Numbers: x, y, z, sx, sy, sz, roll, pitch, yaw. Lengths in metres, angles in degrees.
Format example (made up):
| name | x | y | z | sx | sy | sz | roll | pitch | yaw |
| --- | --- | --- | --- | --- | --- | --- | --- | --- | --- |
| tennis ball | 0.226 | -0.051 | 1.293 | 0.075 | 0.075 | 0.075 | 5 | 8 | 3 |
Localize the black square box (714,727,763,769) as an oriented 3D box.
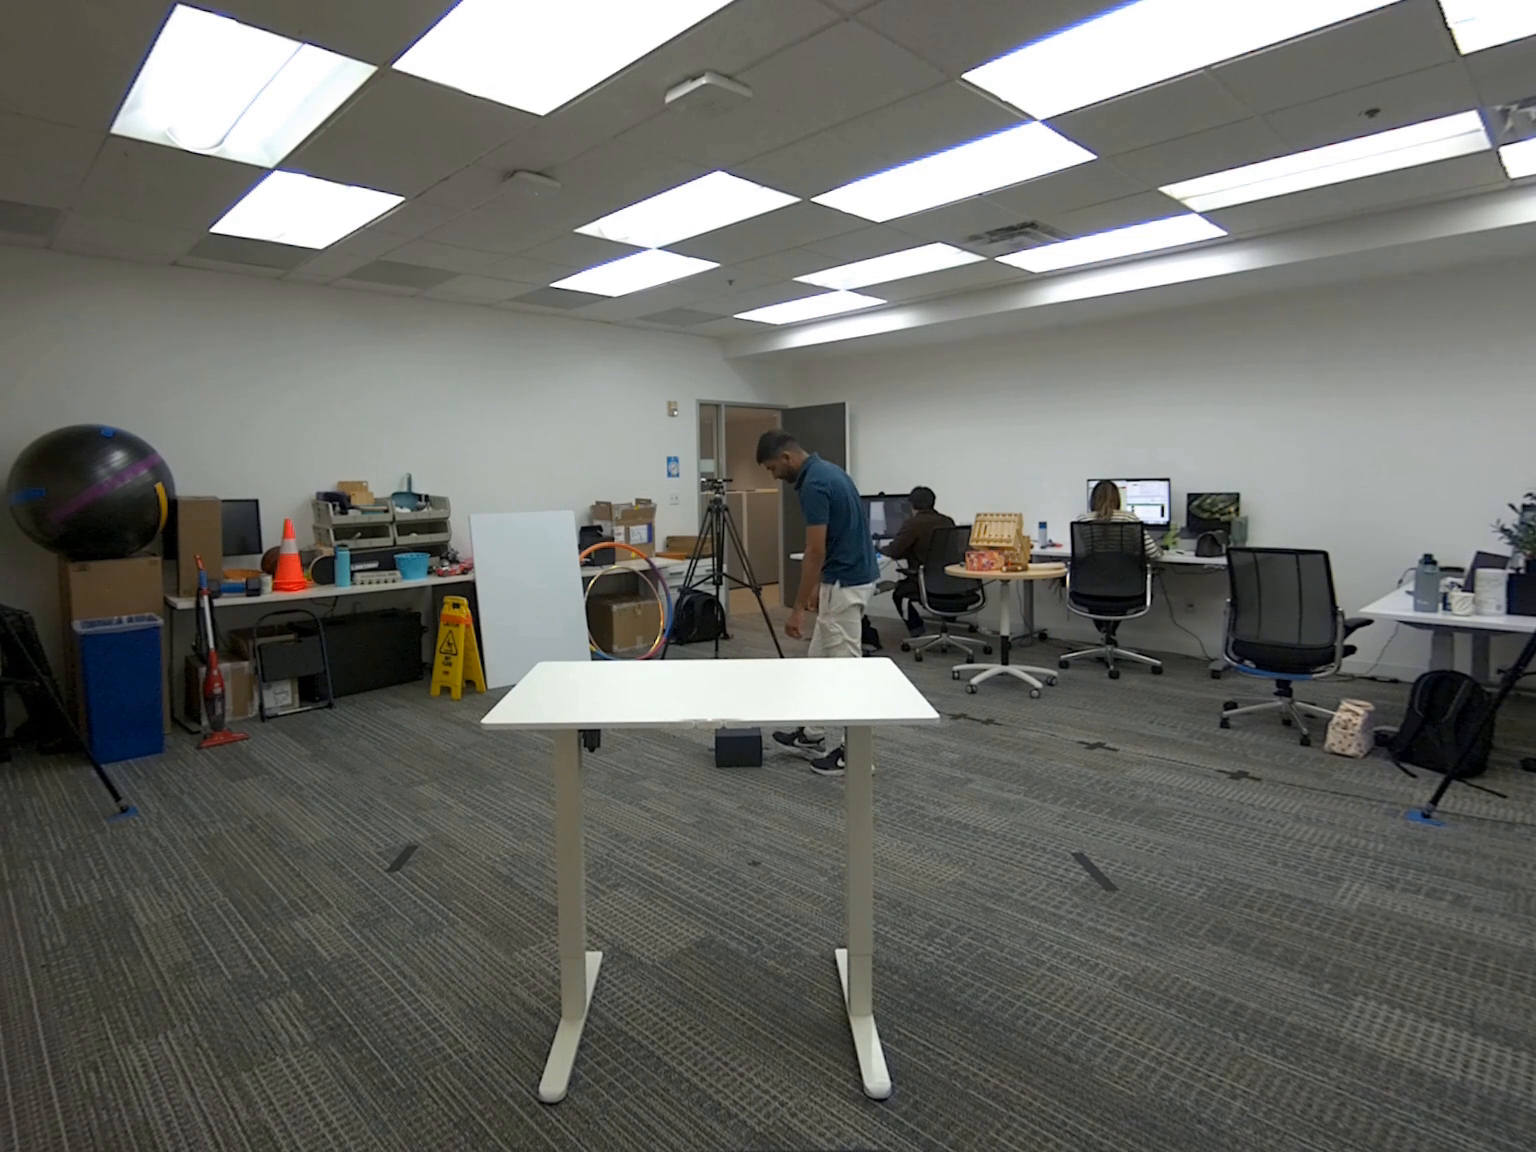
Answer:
| name | x | y | z | sx | sy | sz | roll | pitch | yaw |
| --- | --- | --- | --- | --- | --- | --- | --- | --- | --- |
| black square box | -0.149 | 0.835 | 4.261 | 0.227 | 0.155 | 0.218 | -1 | 6 | -3 |
